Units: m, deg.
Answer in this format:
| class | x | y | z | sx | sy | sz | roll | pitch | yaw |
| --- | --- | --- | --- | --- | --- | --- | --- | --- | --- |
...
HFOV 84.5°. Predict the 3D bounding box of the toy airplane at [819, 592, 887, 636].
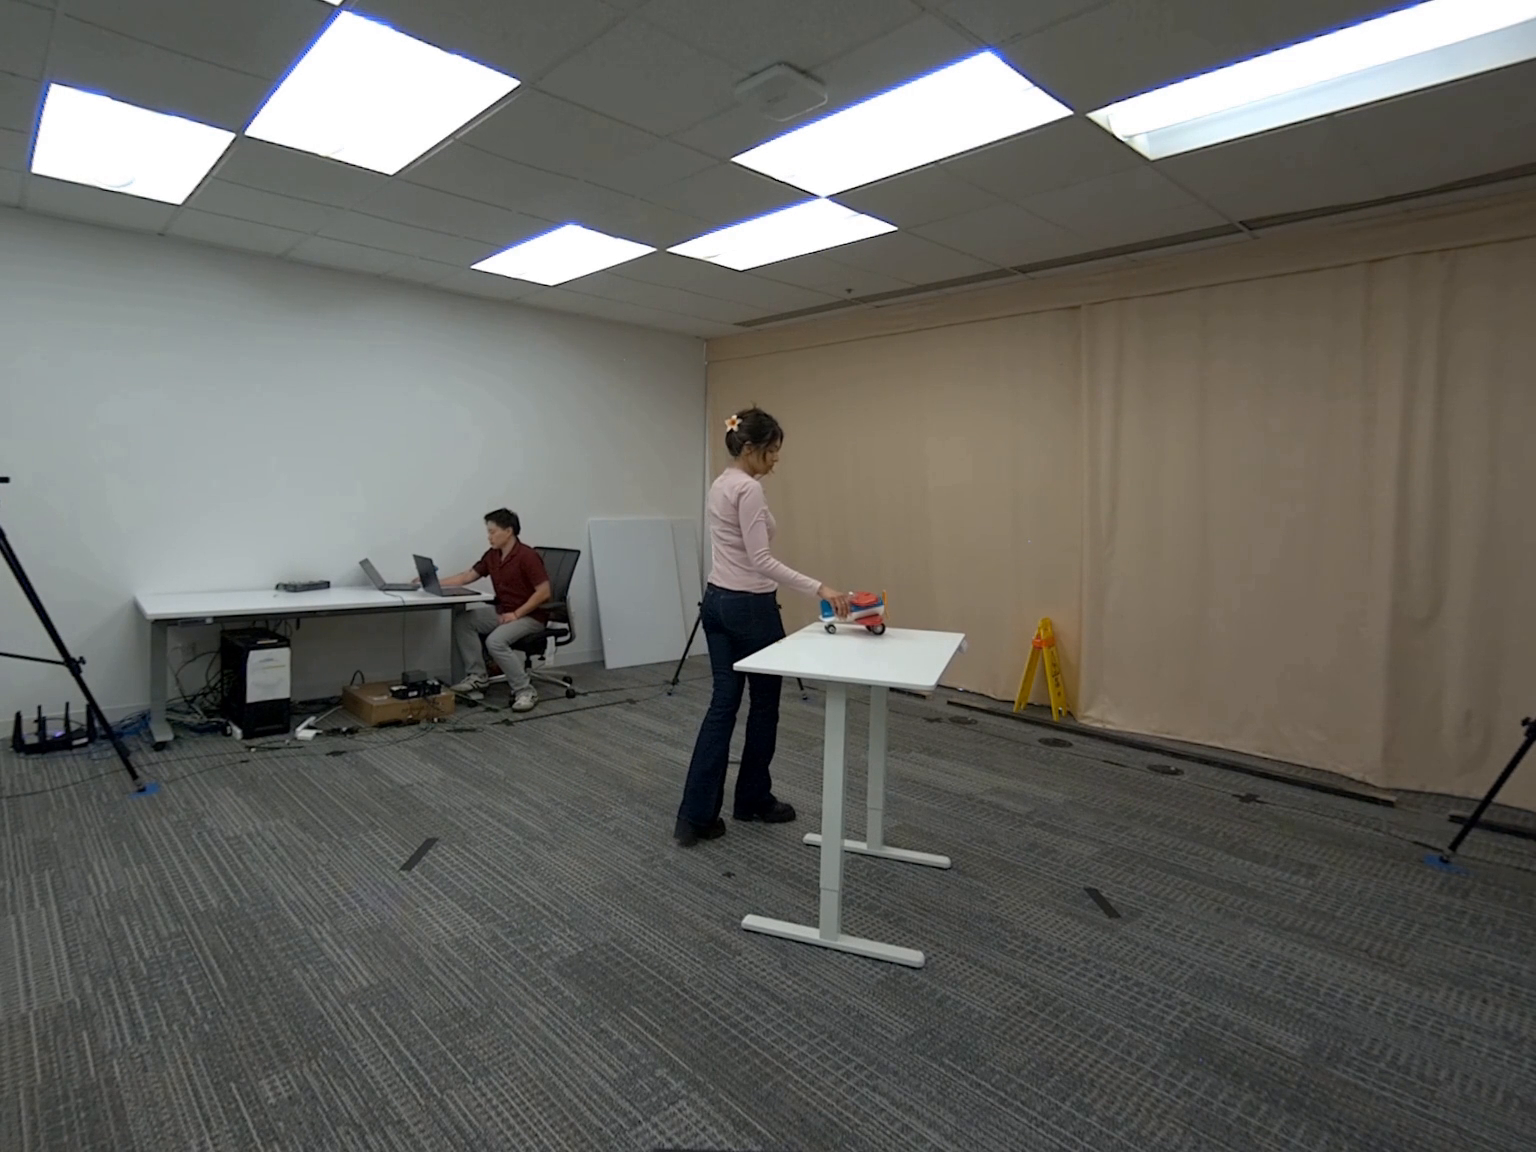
| class | x | y | z | sx | sy | sz | roll | pitch | yaw |
| --- | --- | --- | --- | --- | --- | --- | --- | --- | --- |
| toy airplane | 0.334 | 0.146 | 3.218 | 0.254 | 0.156 | 0.257 | 0 | 5 | -33 |
